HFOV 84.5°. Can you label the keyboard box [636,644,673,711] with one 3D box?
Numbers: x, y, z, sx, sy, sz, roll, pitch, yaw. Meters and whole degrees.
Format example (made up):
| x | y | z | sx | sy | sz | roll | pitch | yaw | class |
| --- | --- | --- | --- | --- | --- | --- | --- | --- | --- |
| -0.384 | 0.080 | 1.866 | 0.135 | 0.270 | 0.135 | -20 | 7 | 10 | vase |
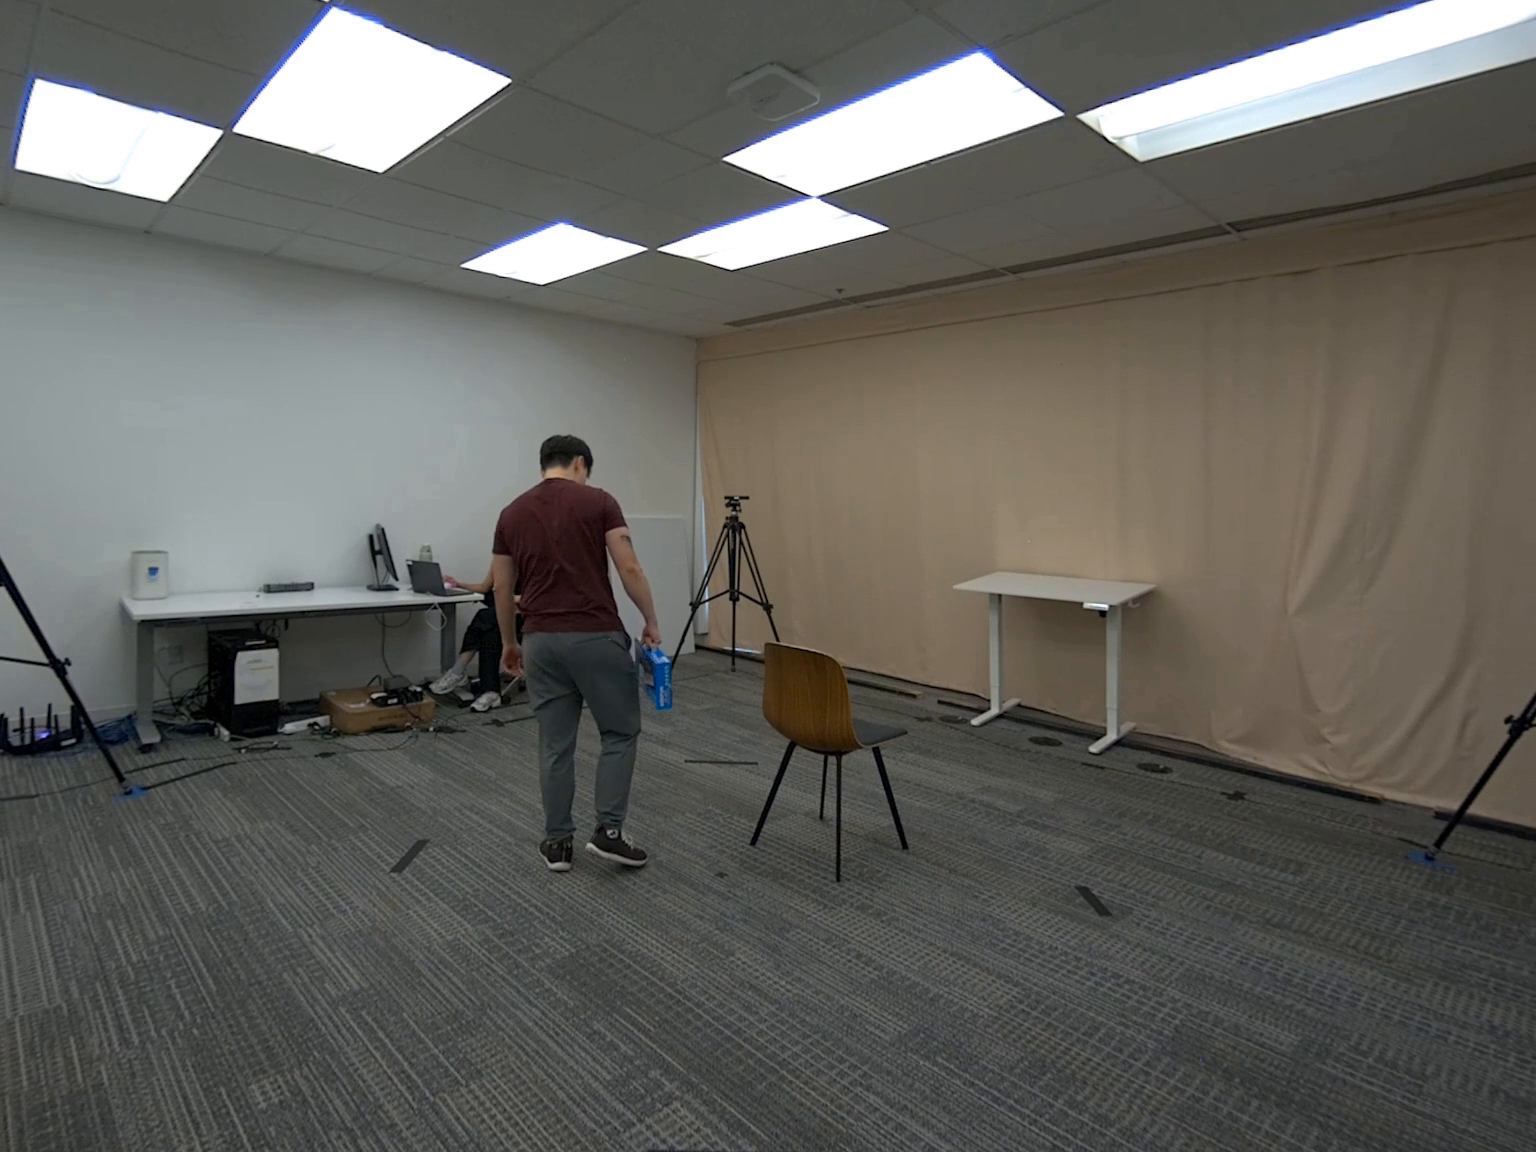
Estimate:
| x | y | z | sx | sy | sz | roll | pitch | yaw | class |
| --- | --- | --- | --- | --- | --- | --- | --- | --- | --- |
| -0.457 | 0.368 | 3.232 | 0.058 | 0.175 | 0.445 | -1 | 9 | -17 | keyboard box |
